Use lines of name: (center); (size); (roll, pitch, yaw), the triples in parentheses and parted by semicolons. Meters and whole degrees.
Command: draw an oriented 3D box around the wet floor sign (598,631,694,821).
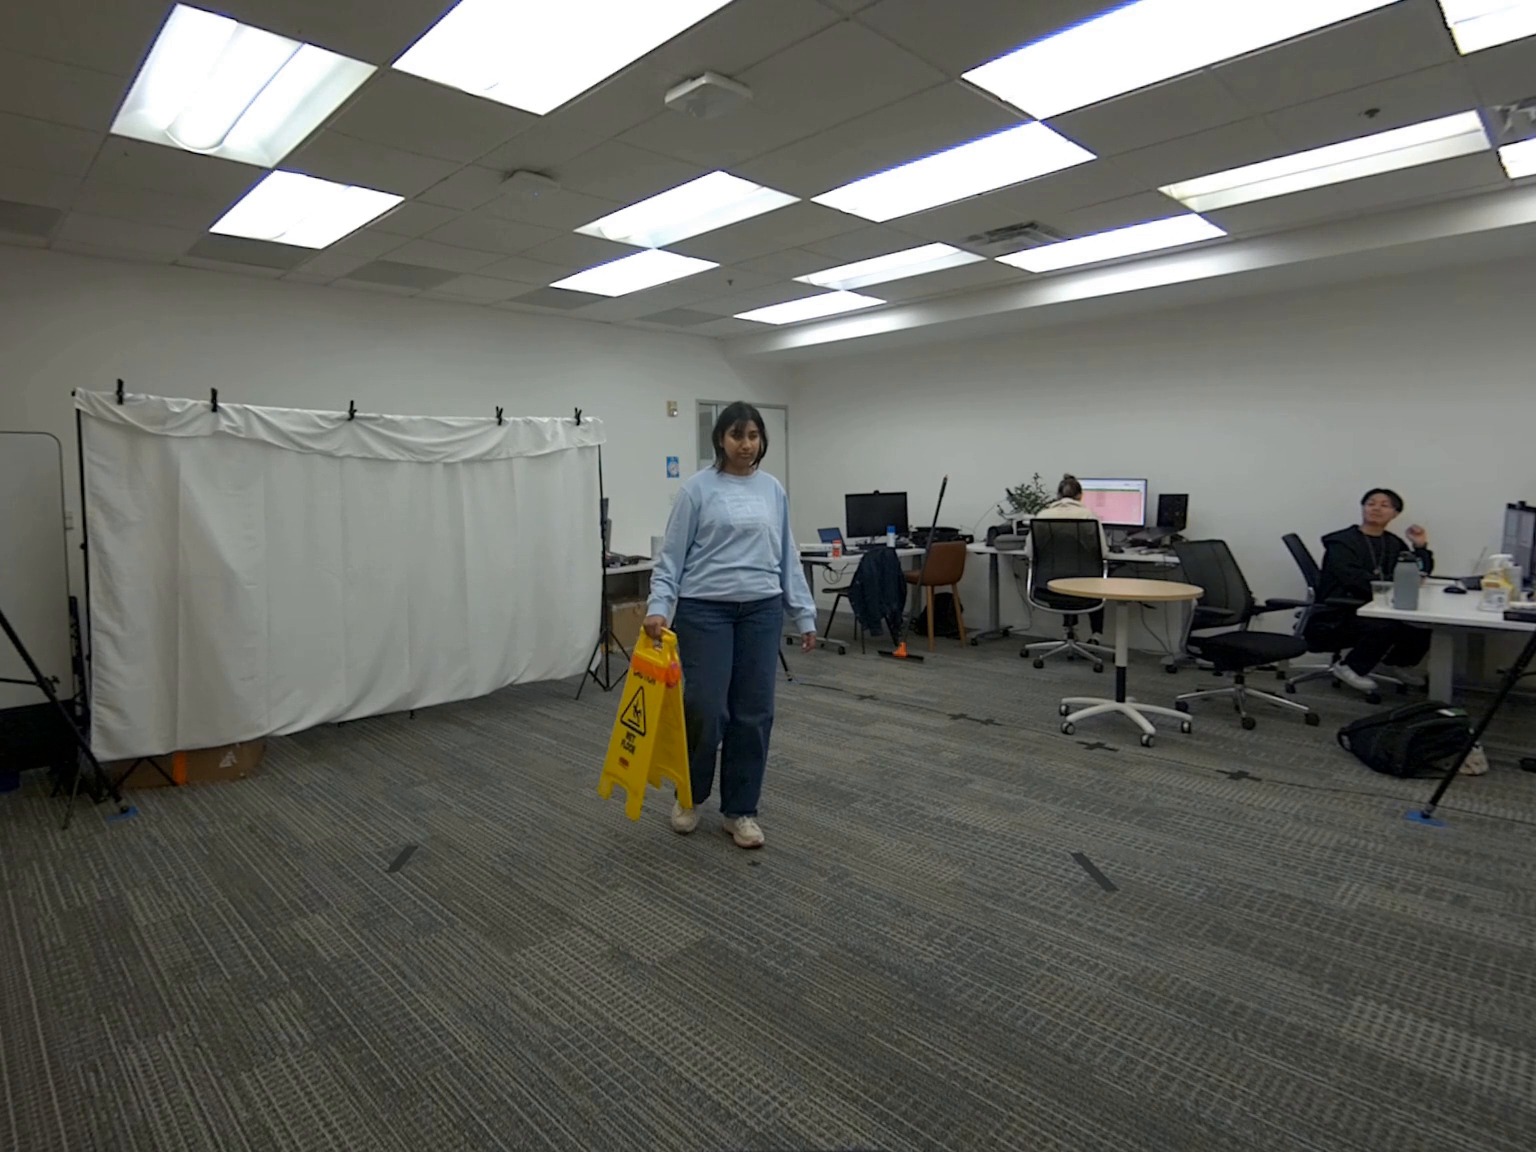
wet floor sign: (-0.424, 0.505, 3.119); (0.281, 0.643, 0.292); (1, 7, -39)
